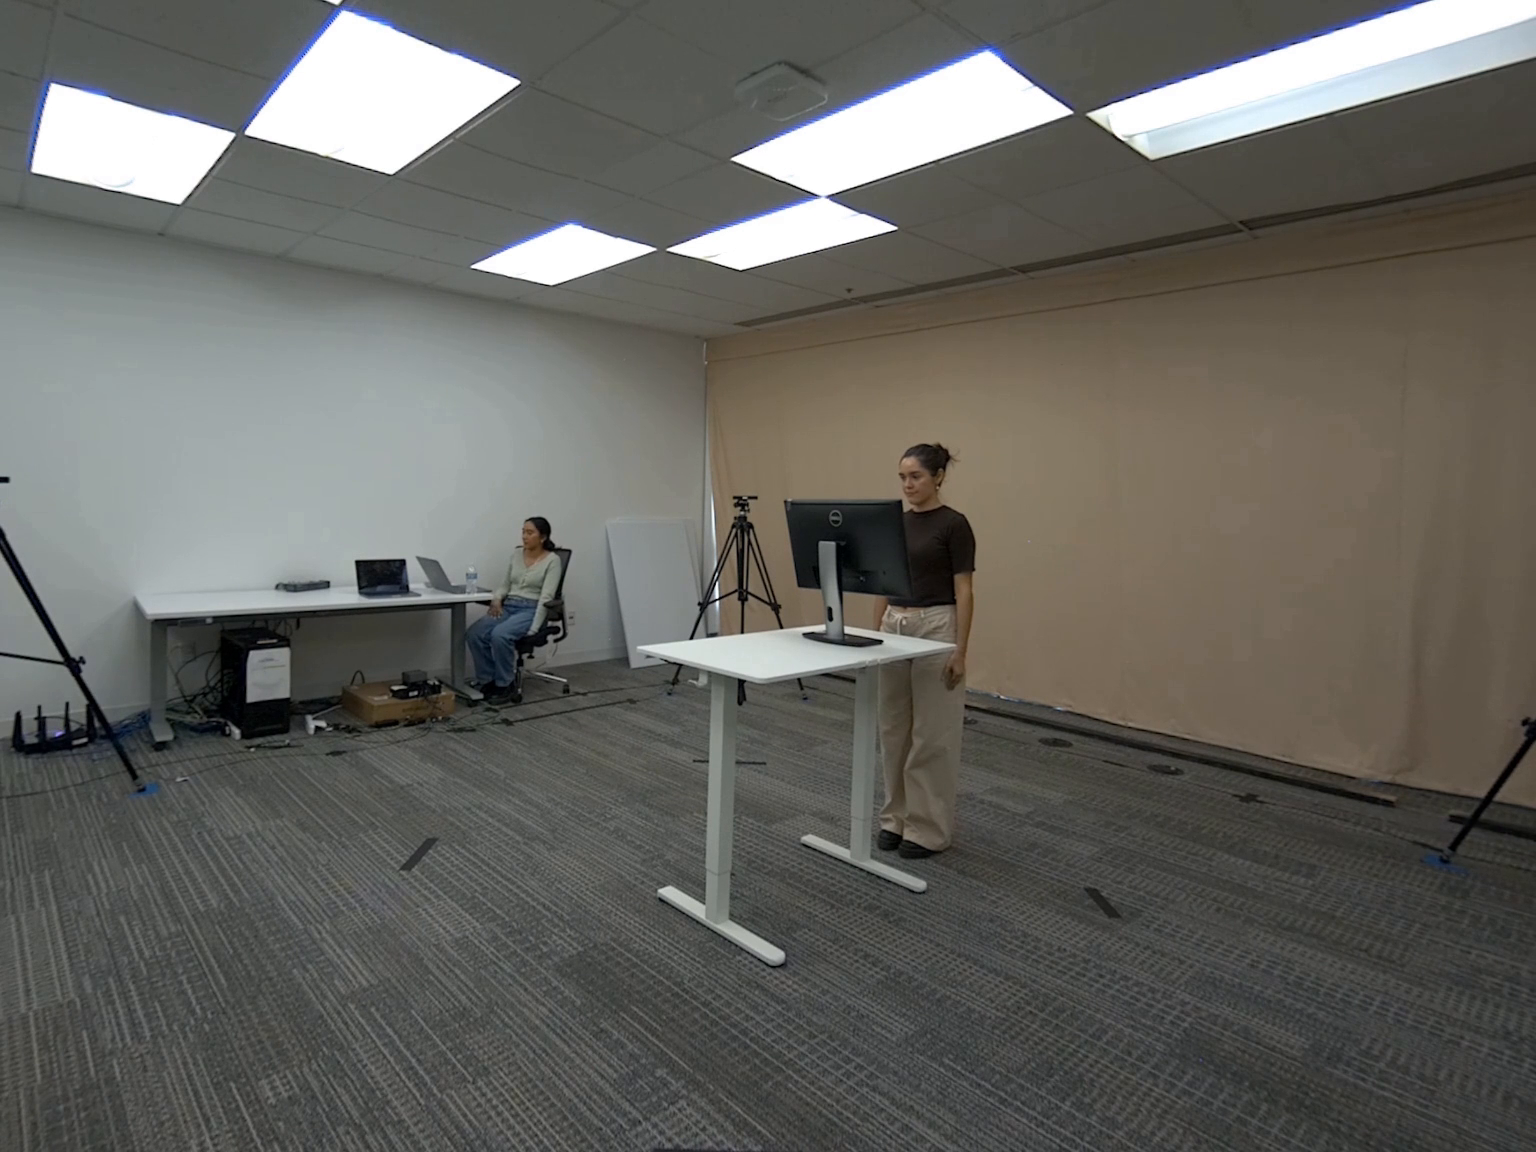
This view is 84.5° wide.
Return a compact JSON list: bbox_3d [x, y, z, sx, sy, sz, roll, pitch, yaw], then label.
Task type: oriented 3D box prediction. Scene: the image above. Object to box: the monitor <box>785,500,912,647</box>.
[{"bbox_3d":[0.259,-0.015,3.043,0.553,0.521,0.183,4,7,44],"label":"monitor"}]
